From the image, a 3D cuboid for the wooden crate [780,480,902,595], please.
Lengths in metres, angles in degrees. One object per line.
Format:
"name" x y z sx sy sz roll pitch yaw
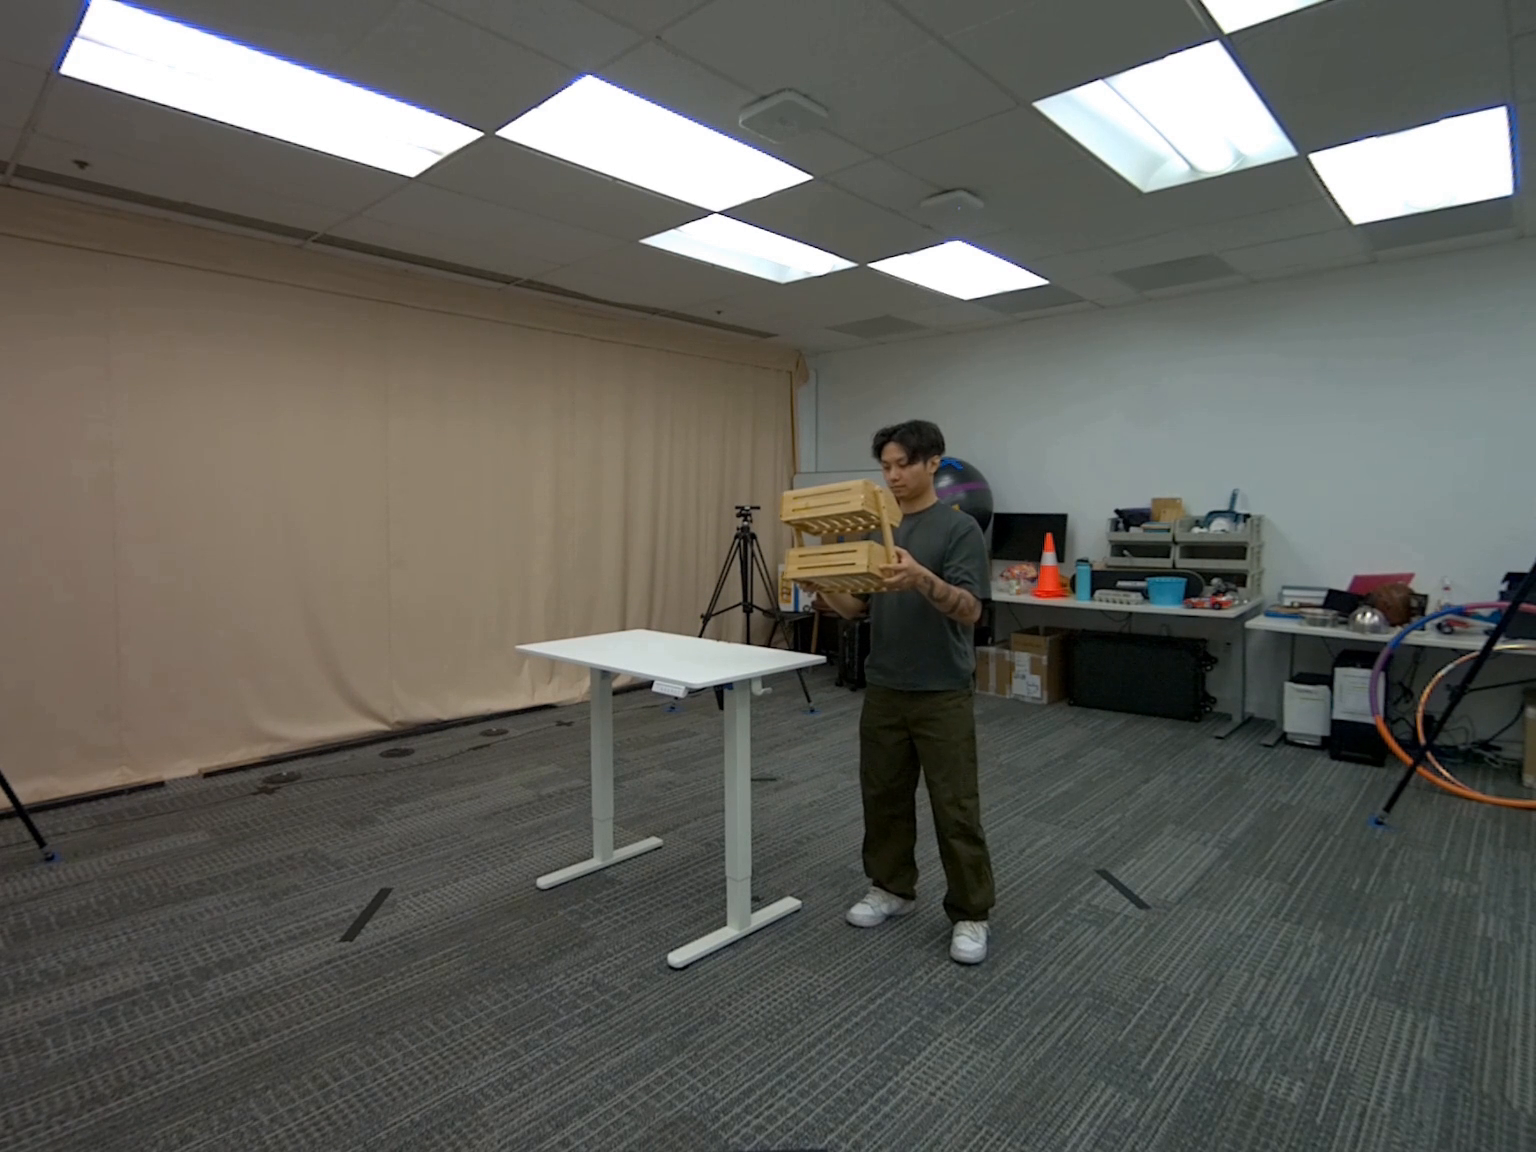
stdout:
"wooden crate" 0.246 -0.109 2.542 0.334 0.275 0.291 -6 -17 40
